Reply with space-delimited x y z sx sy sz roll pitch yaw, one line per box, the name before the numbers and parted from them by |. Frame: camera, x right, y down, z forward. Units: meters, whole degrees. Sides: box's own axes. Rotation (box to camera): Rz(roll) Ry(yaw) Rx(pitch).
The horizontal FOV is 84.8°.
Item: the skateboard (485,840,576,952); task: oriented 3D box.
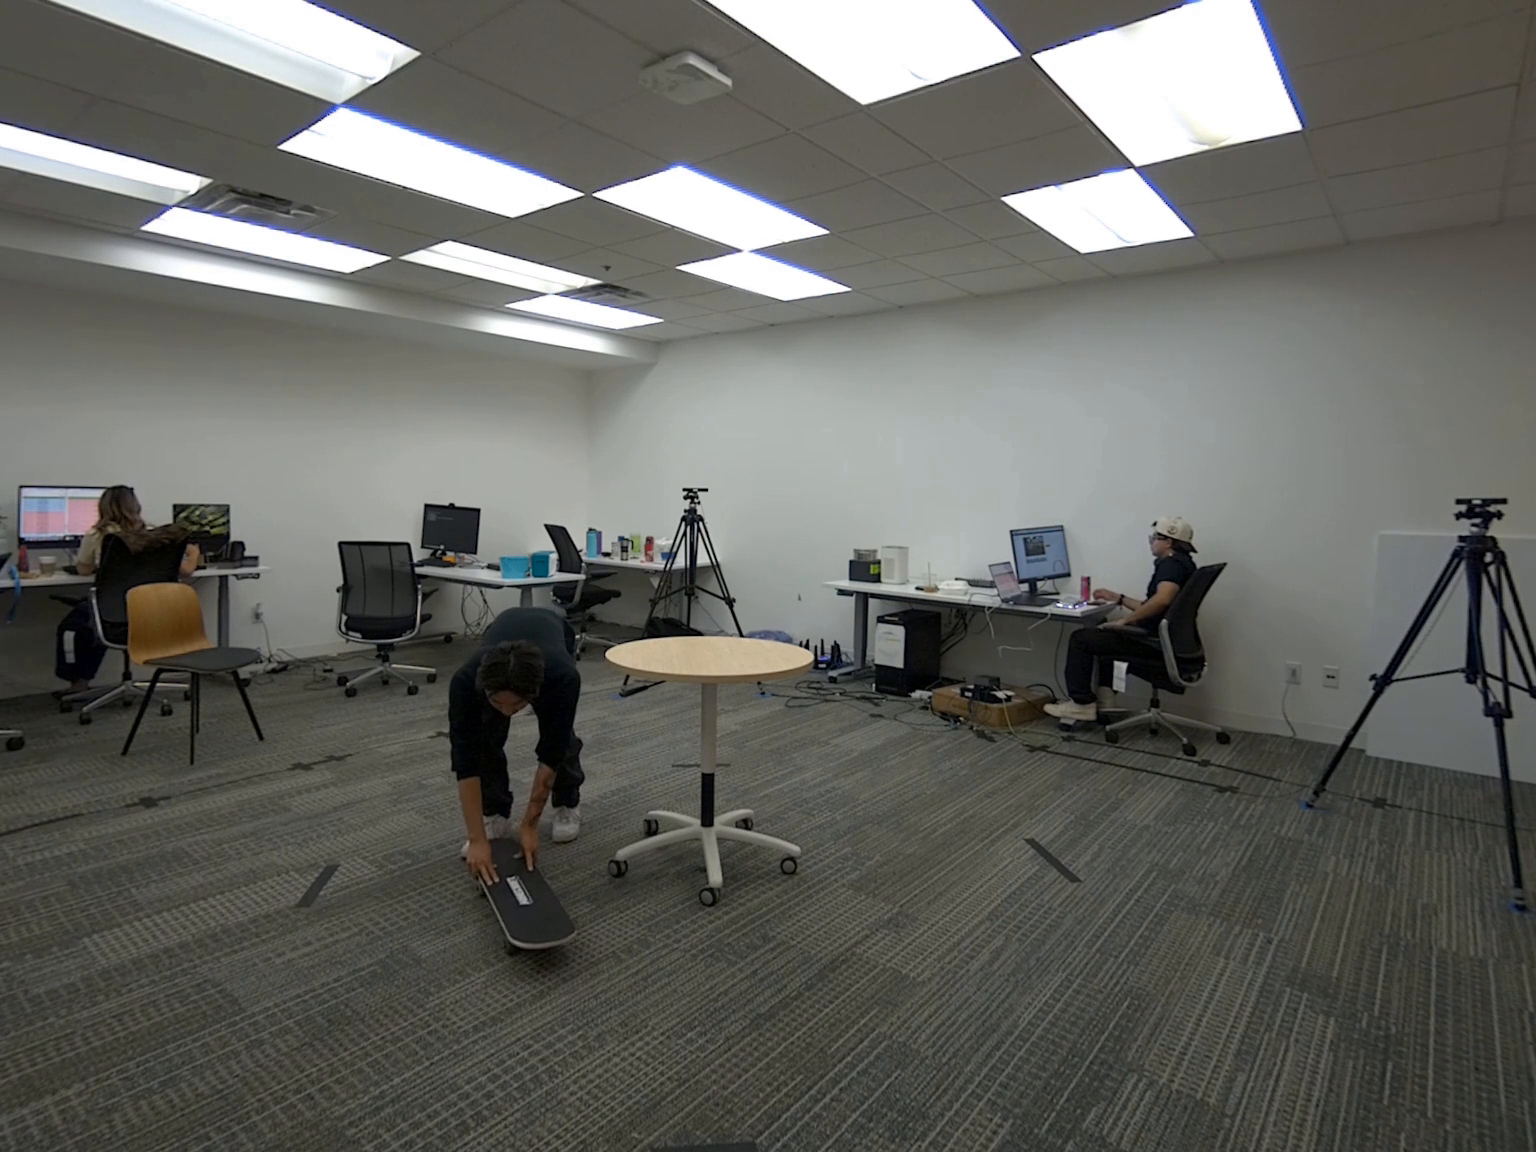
skateboard | -0.810 1.040 2.738 0.188 0.110 0.809 -3 6 -29
